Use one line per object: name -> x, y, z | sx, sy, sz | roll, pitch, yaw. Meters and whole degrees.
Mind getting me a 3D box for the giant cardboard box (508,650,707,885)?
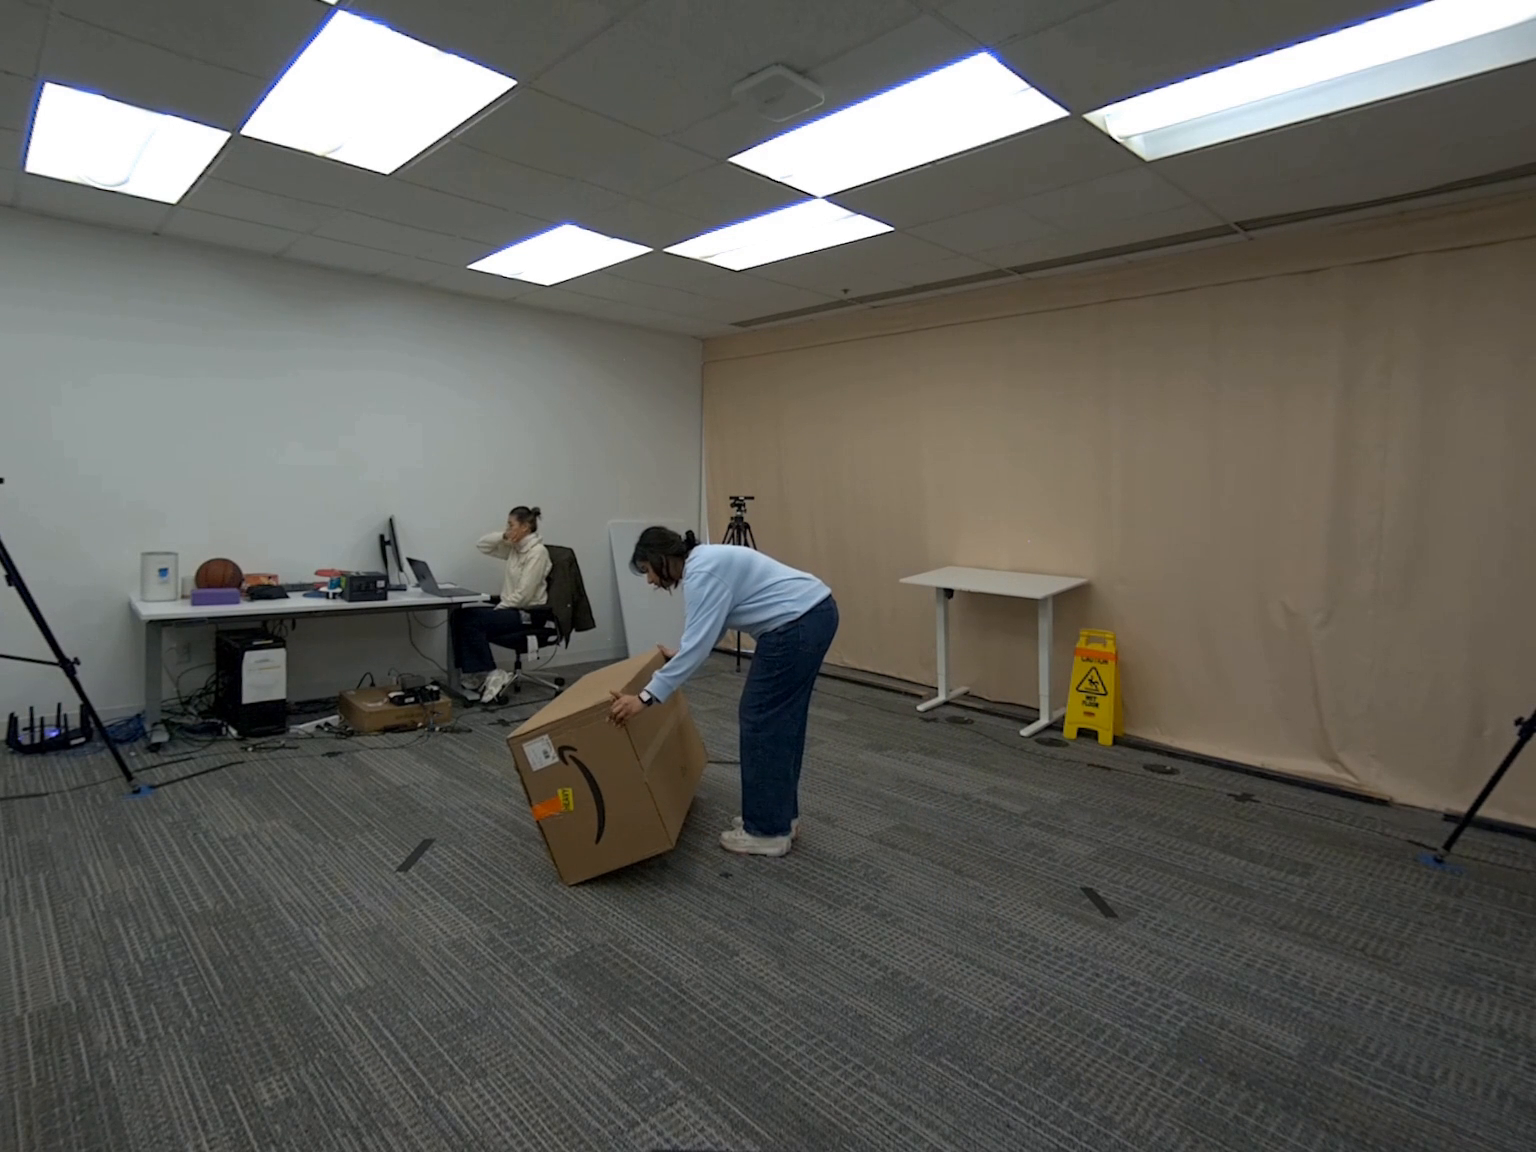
giant cardboard box -> -0.615, 0.717, 3.470 | 0.427, 0.576, 1.025 | -22, 3, 5
